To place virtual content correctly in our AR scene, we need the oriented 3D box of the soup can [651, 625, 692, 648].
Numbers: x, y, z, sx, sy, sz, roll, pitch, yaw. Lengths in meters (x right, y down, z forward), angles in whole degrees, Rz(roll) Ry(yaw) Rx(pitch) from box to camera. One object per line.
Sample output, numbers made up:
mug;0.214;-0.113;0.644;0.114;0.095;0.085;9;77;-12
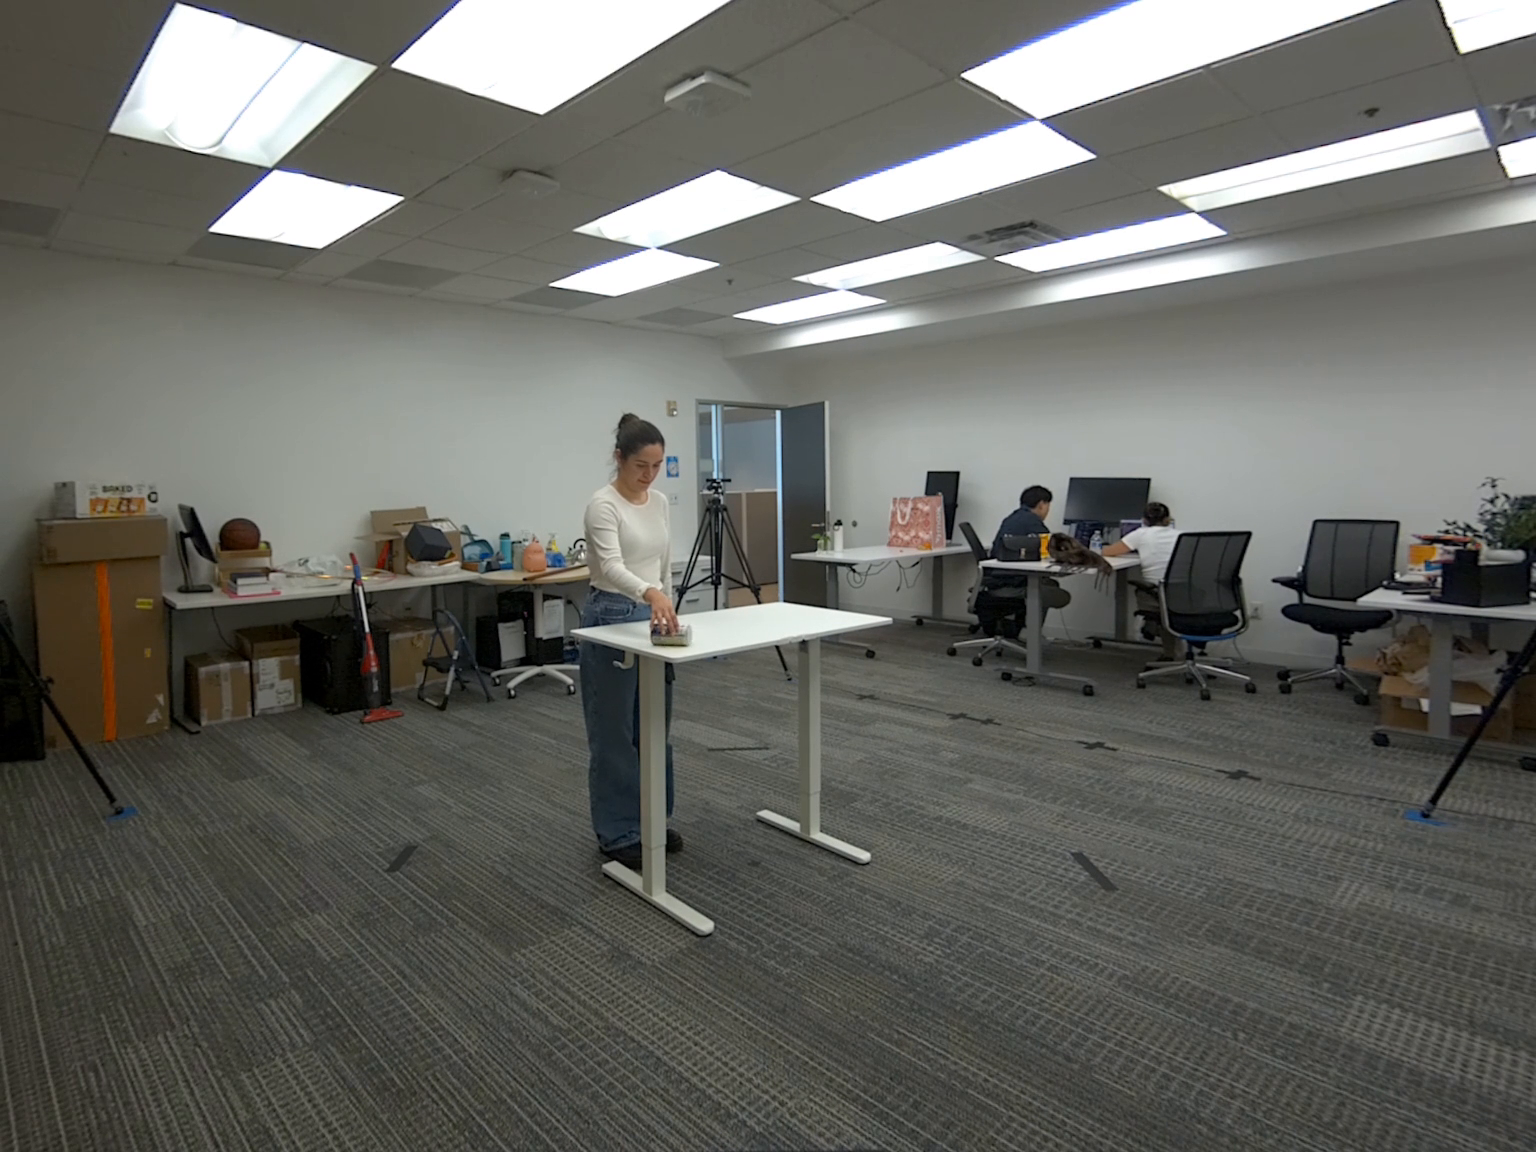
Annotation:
soup can;-0.288;0.185;2.651;0.066;0.067;0.124;-3;6;-20
